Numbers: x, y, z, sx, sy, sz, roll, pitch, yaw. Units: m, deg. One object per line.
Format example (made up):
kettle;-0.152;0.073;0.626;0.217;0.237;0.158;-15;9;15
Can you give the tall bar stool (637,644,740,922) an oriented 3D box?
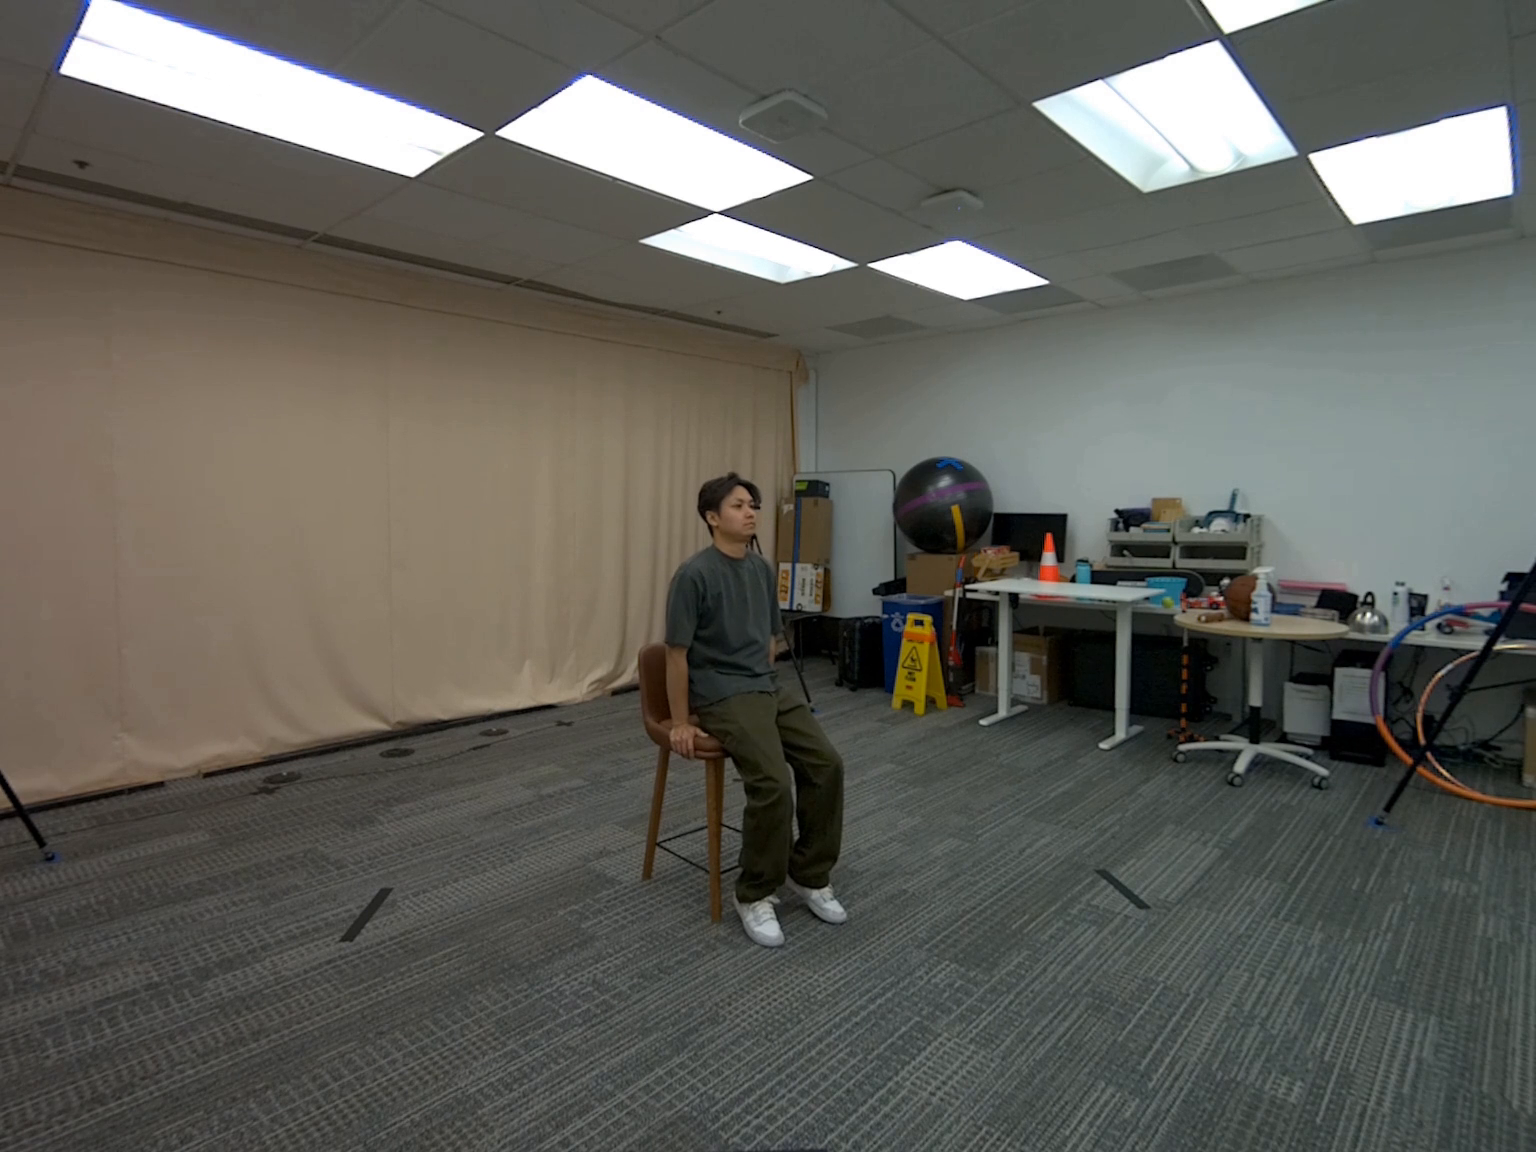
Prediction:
tall bar stool;-0.193;0.700;3.097;0.442;0.889;0.483;-3;2;-43
